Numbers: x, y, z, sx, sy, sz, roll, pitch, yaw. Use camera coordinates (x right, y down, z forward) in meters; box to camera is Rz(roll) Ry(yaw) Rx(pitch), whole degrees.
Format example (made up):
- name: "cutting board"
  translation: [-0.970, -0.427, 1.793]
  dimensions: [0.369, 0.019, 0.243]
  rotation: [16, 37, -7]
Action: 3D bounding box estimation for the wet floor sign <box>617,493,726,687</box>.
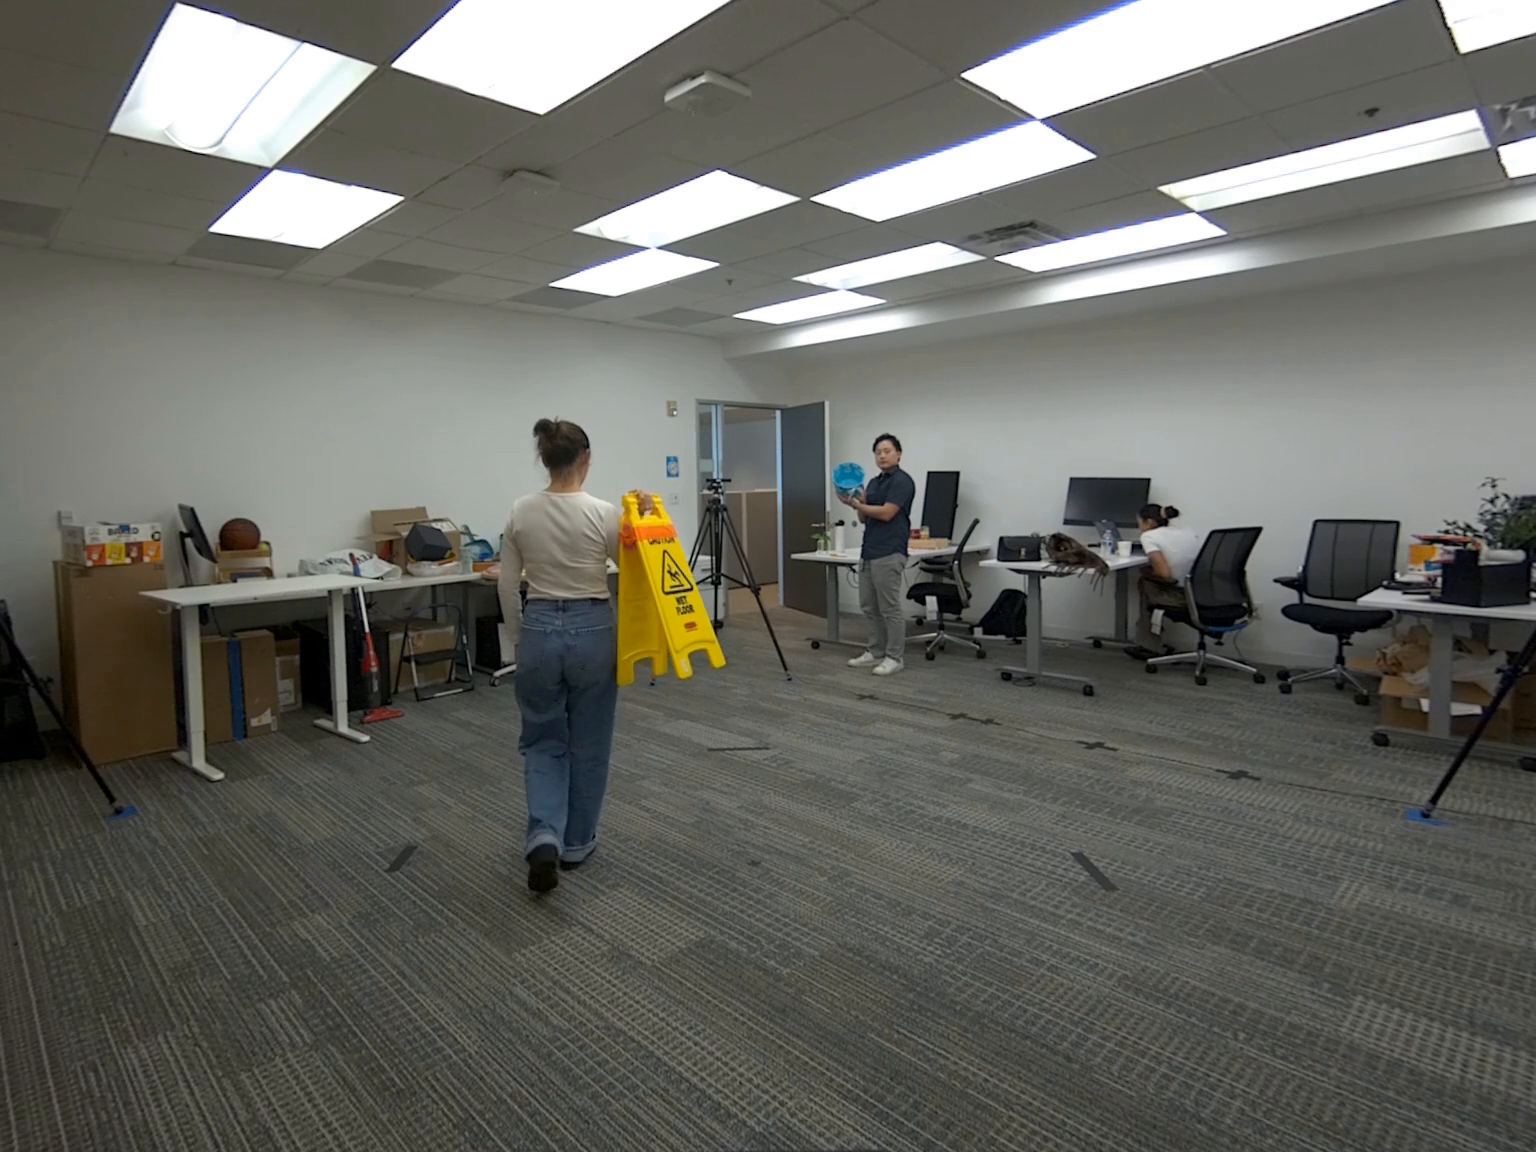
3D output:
- name: "wet floor sign"
  translation: [-0.391, 0.030, 2.997]
  dimensions: [0.295, 0.650, 0.275]
  rotation: [-13, -6, 30]
